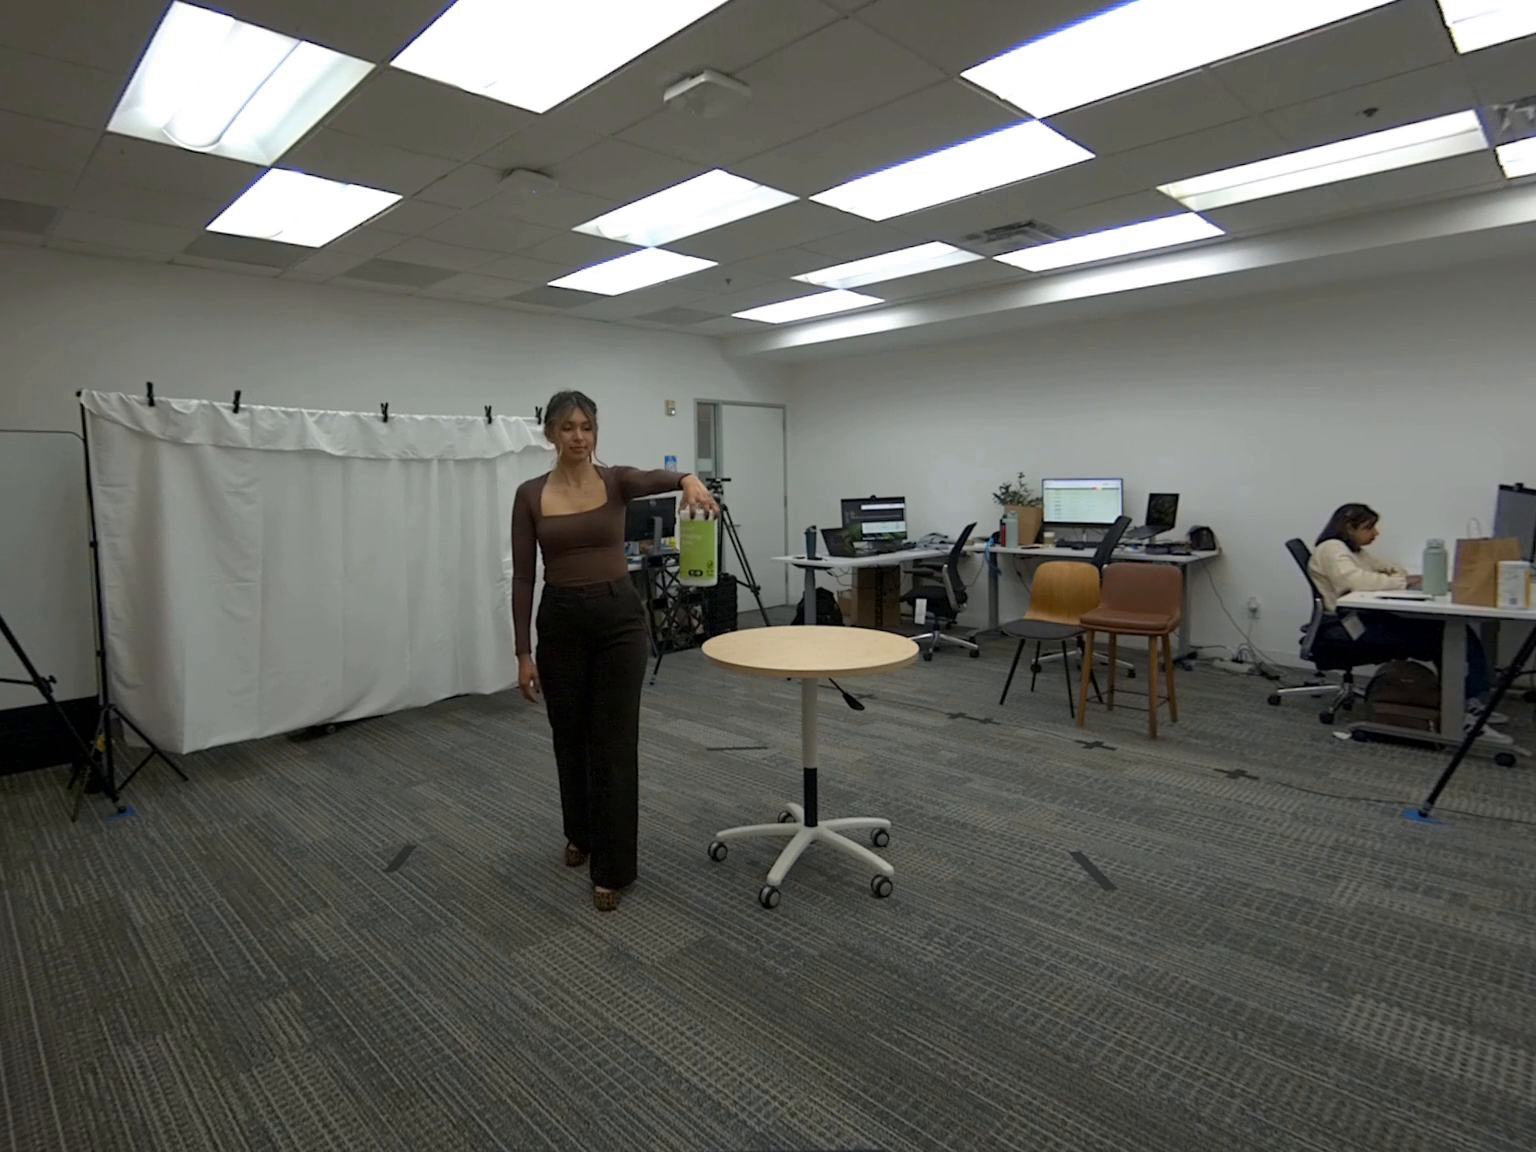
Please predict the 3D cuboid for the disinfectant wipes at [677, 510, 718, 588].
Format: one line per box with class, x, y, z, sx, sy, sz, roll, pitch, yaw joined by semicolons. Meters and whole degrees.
disinfectant wipes;-0.202;-0.081;2.446;0.118;0.216;0.118;2;5;-2
